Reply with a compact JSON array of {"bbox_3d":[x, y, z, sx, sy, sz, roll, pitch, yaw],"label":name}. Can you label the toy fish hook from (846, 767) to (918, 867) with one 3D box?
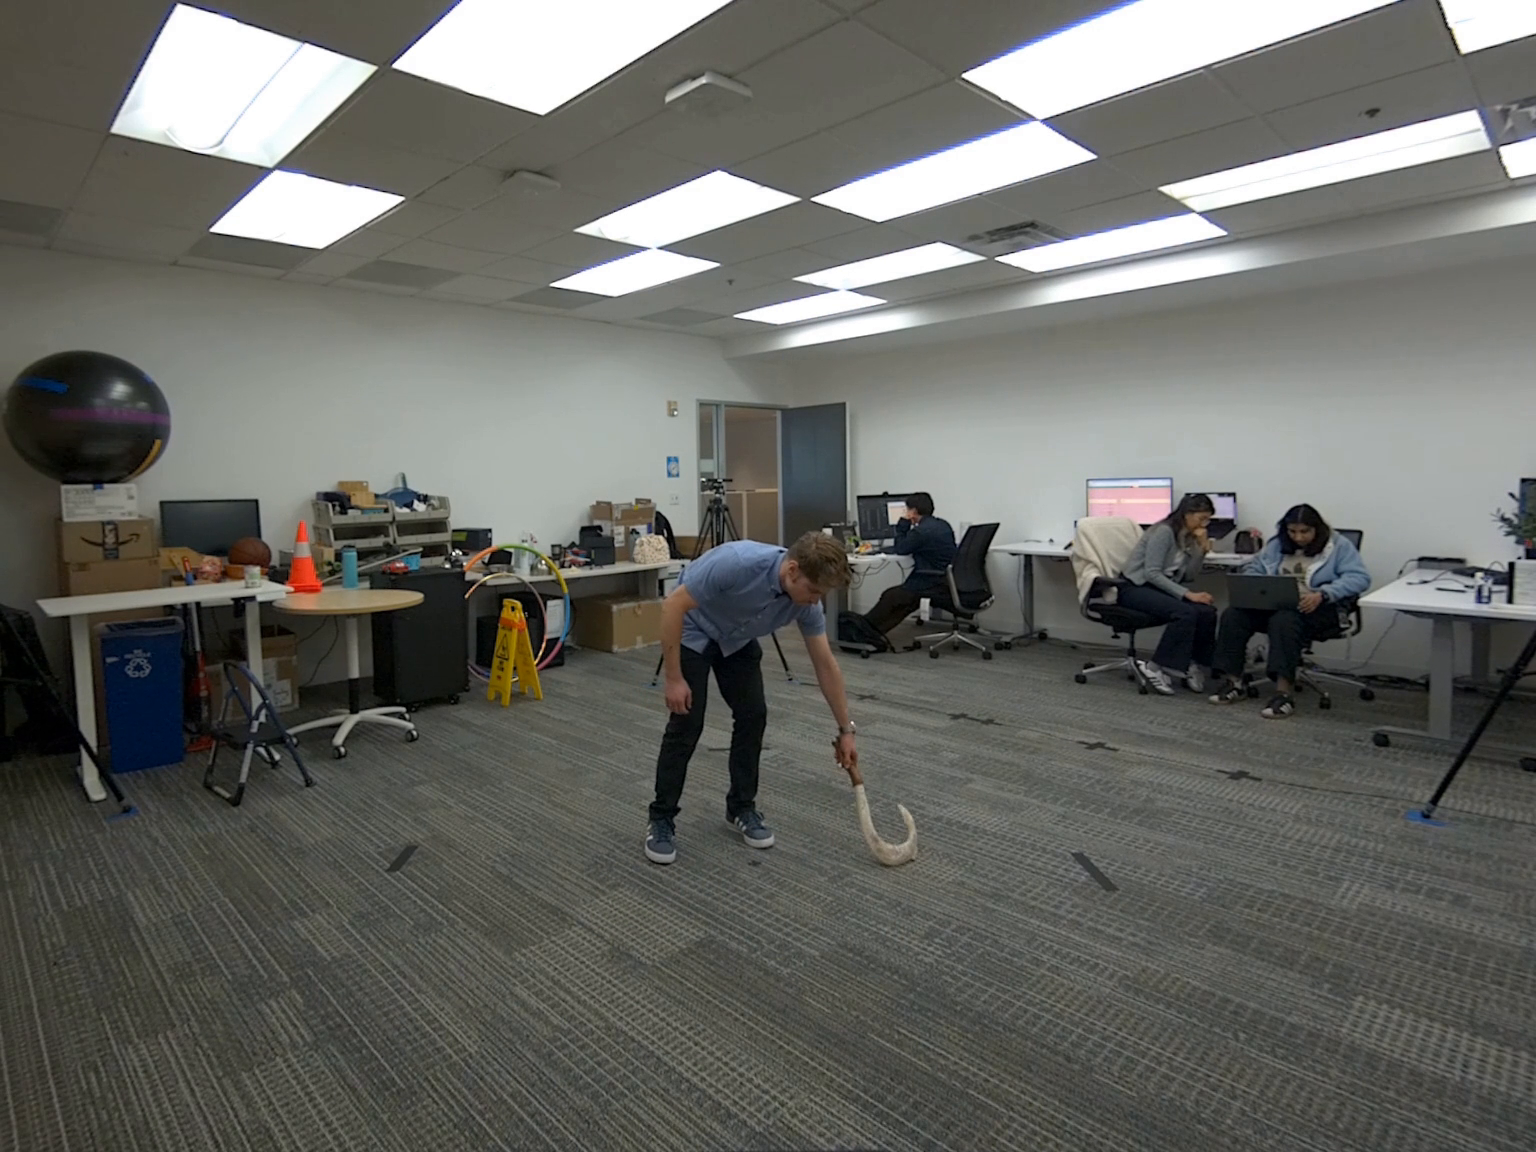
[{"bbox_3d":[0.395,0.827,3.190,0.219,0.522,0.048,-7,-32,-30],"label":"toy fish hook"}]
